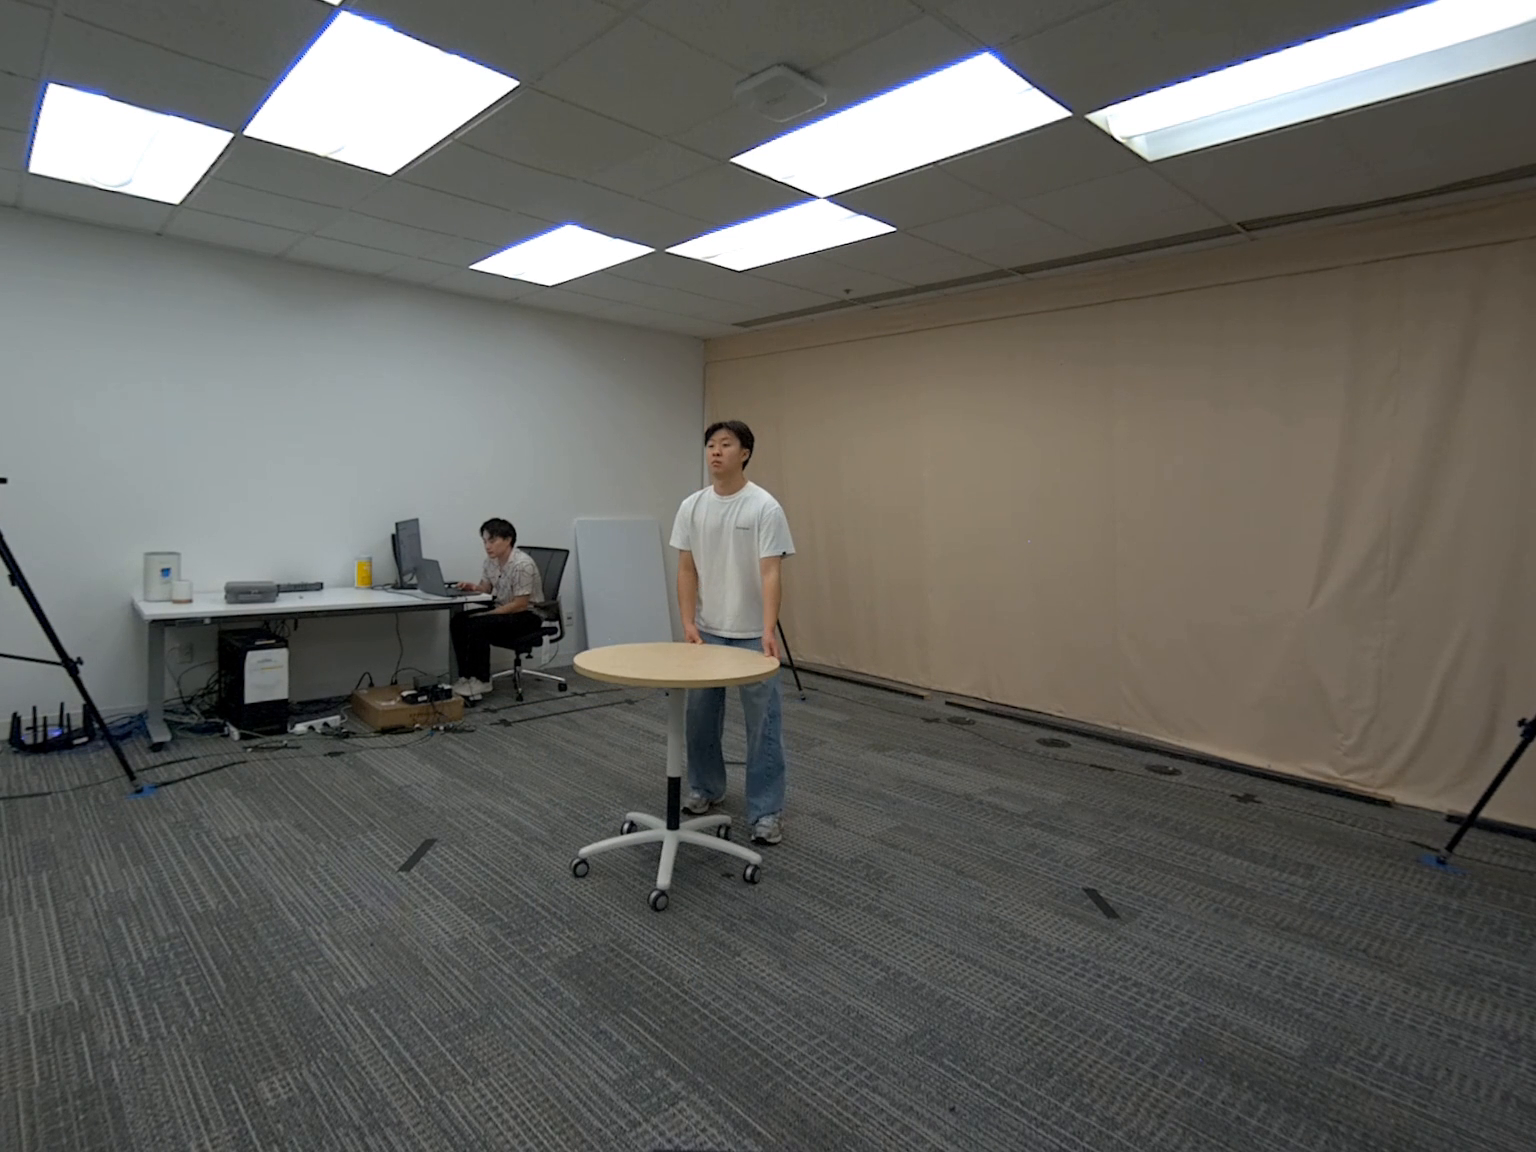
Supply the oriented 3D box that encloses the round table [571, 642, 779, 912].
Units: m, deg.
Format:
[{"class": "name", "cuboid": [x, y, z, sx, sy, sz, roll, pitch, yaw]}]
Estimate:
[{"class": "round table", "cuboid": [-0.360, 0.707, 3.158, 0.763, 0.792, 0.766, 1, 3, -1]}]
